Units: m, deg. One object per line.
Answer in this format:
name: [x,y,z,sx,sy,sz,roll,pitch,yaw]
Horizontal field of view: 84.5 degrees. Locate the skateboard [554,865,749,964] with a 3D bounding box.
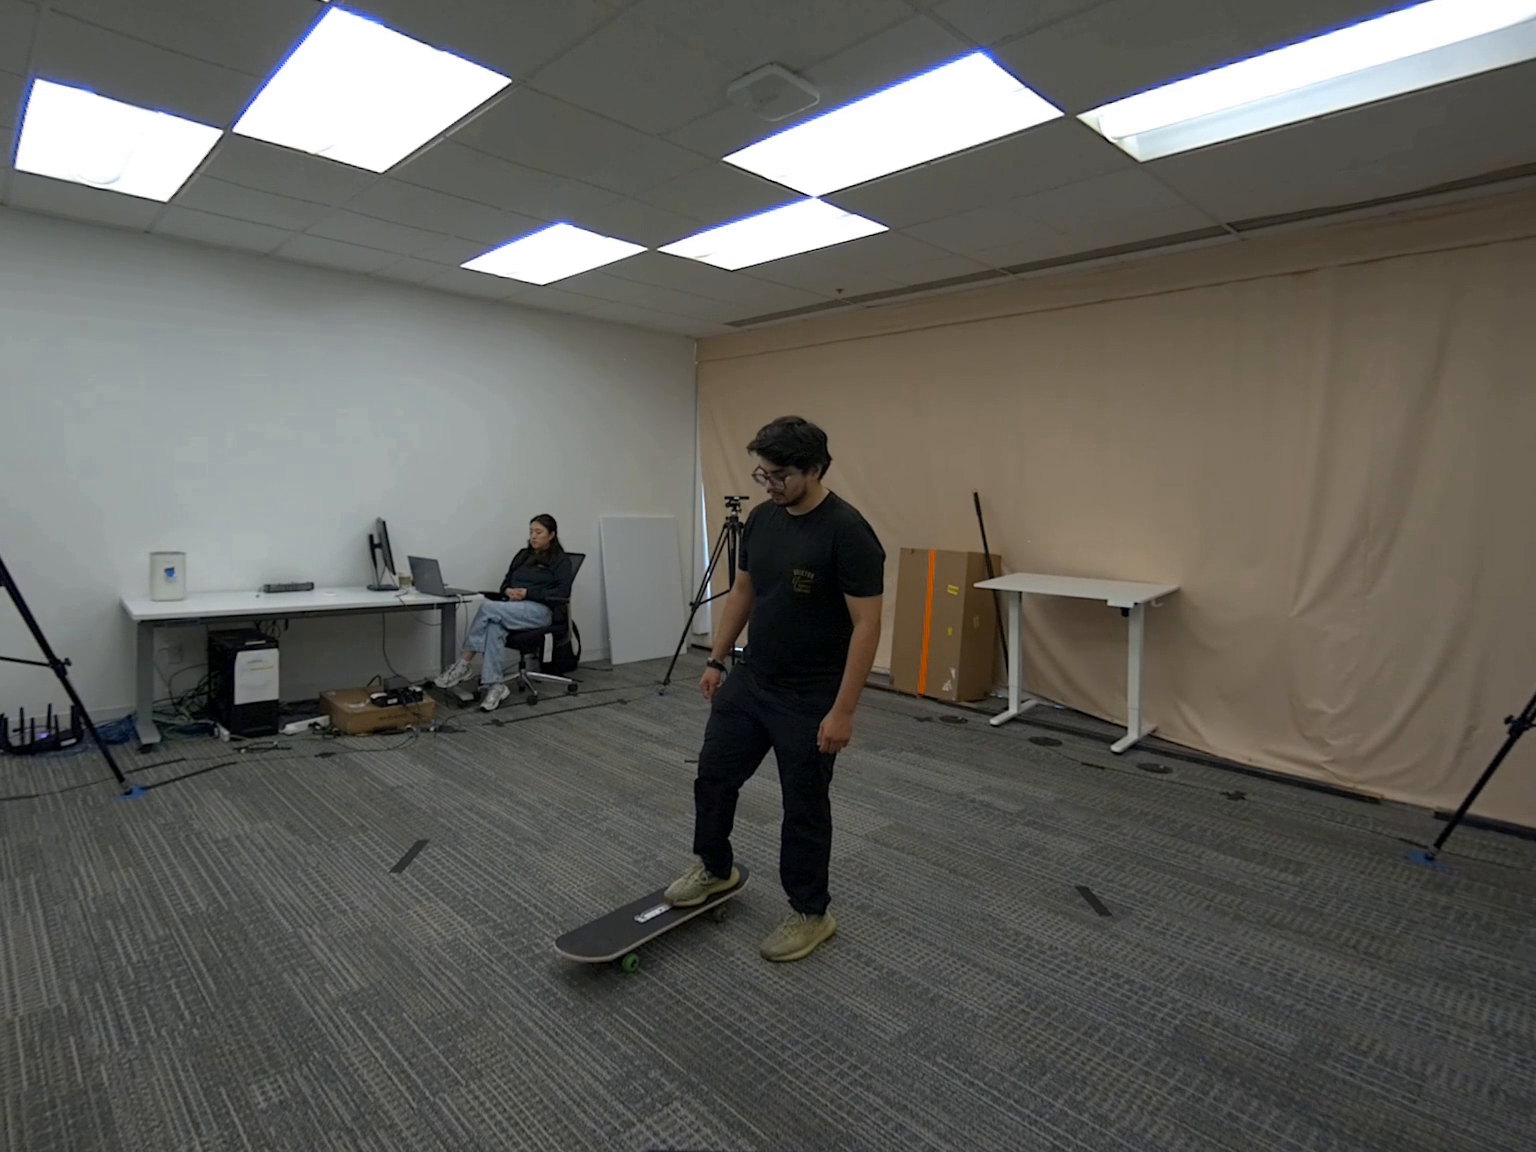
skateboard: [-0.344,1.084,2.660,0.198,0.110,0.768,5,6,38]
